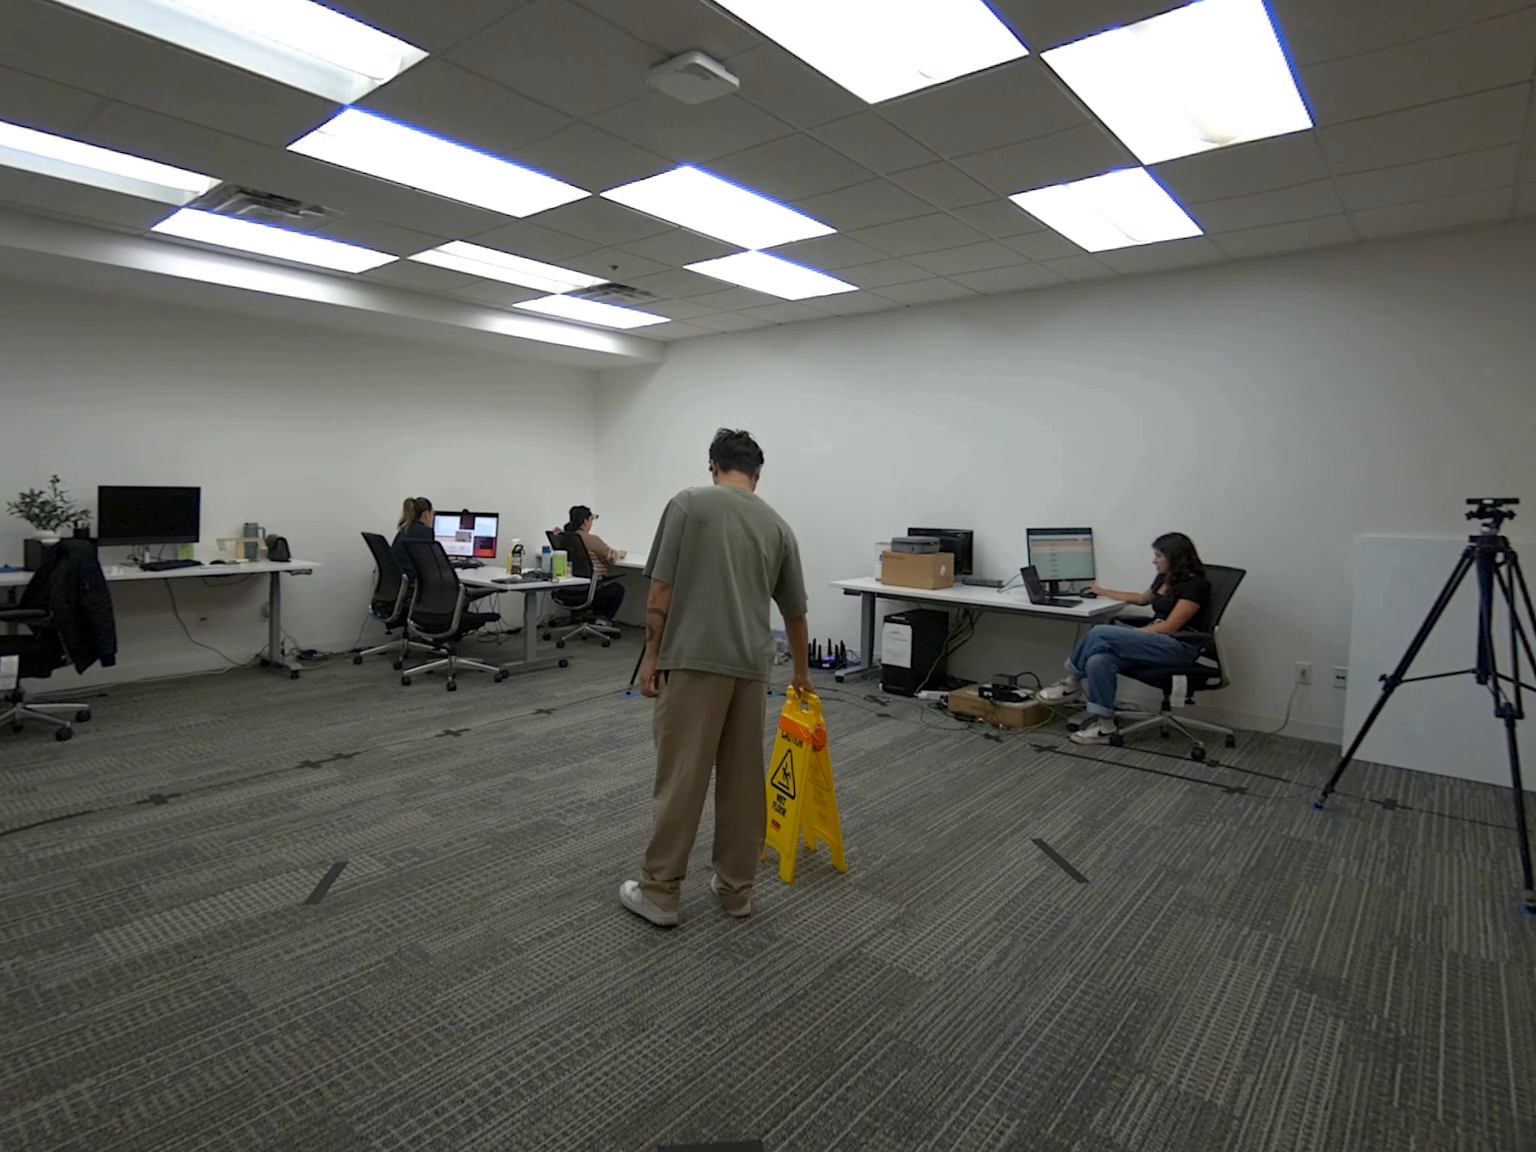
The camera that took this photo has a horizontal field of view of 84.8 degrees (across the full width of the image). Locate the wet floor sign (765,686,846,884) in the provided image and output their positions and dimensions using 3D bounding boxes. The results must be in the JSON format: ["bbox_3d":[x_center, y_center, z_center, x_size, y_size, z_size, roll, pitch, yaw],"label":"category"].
[{"bbox_3d":[0.112,0.741,3.156,0.282,0.645,0.290,0,3,-27],"label":"wet floor sign"}]
